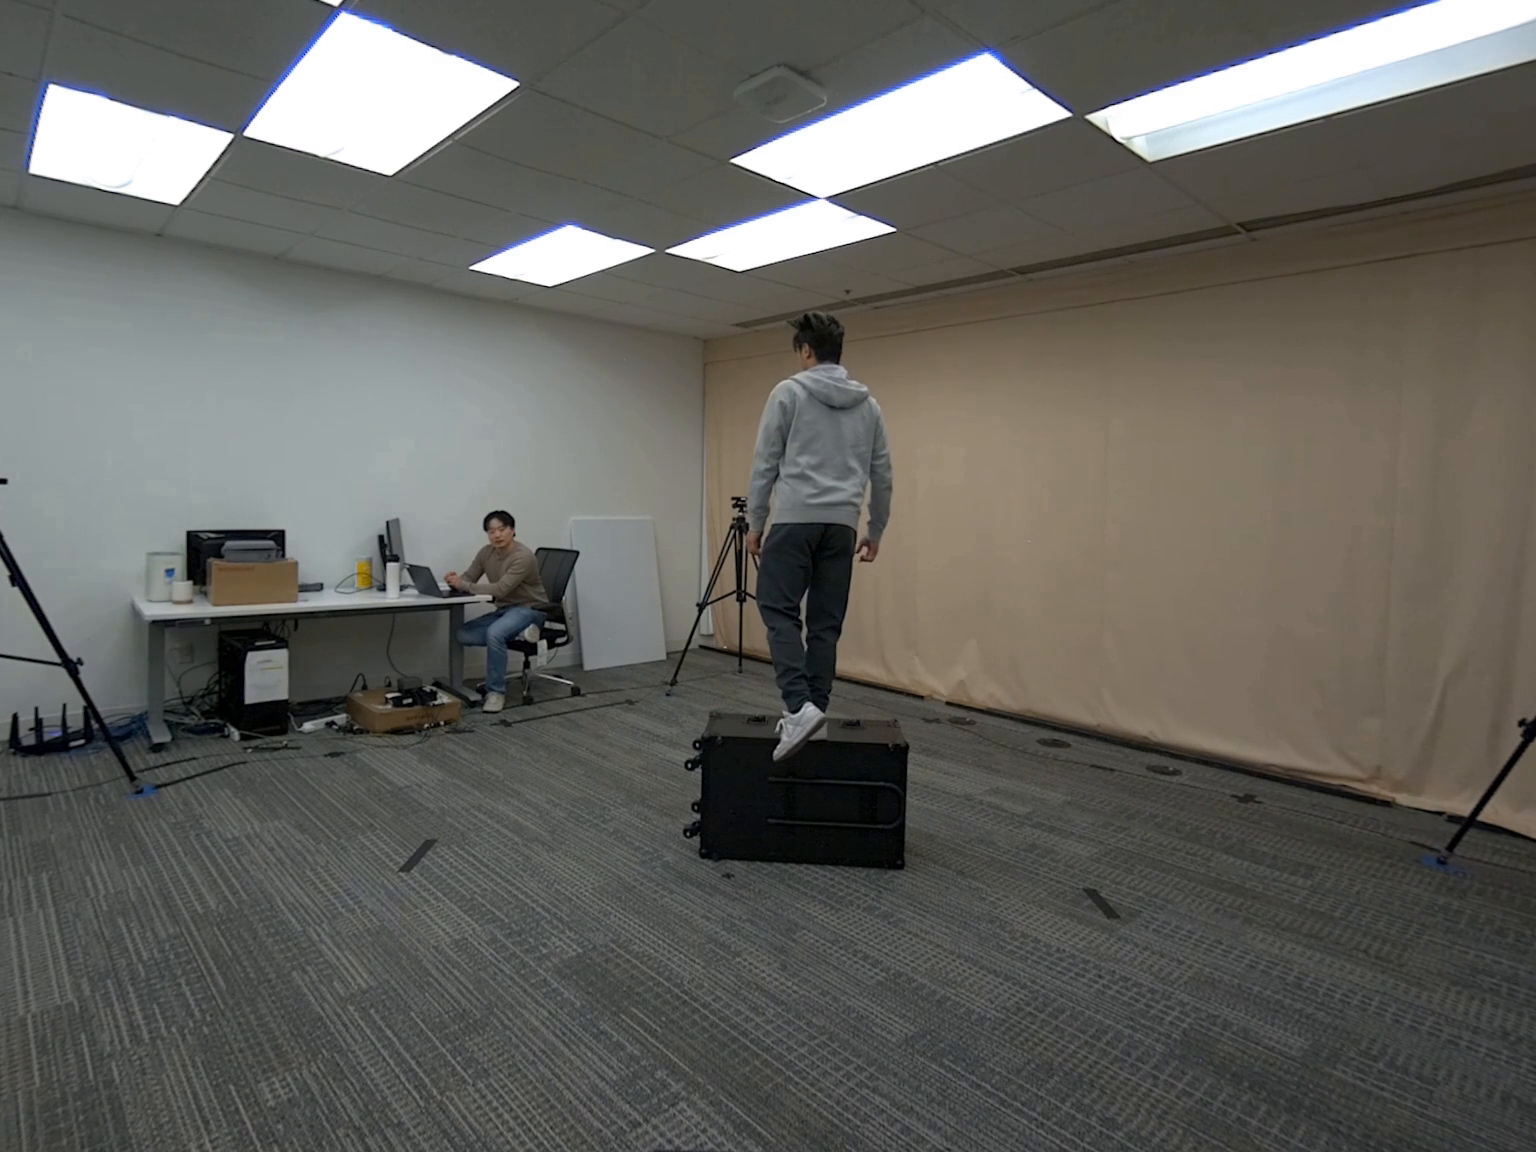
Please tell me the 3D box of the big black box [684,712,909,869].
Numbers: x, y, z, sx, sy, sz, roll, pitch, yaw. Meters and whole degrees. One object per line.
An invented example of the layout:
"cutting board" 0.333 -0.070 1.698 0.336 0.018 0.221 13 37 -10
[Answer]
"big black box" 0.099 0.848 3.371 0.865 0.520 0.396 2 4 4
